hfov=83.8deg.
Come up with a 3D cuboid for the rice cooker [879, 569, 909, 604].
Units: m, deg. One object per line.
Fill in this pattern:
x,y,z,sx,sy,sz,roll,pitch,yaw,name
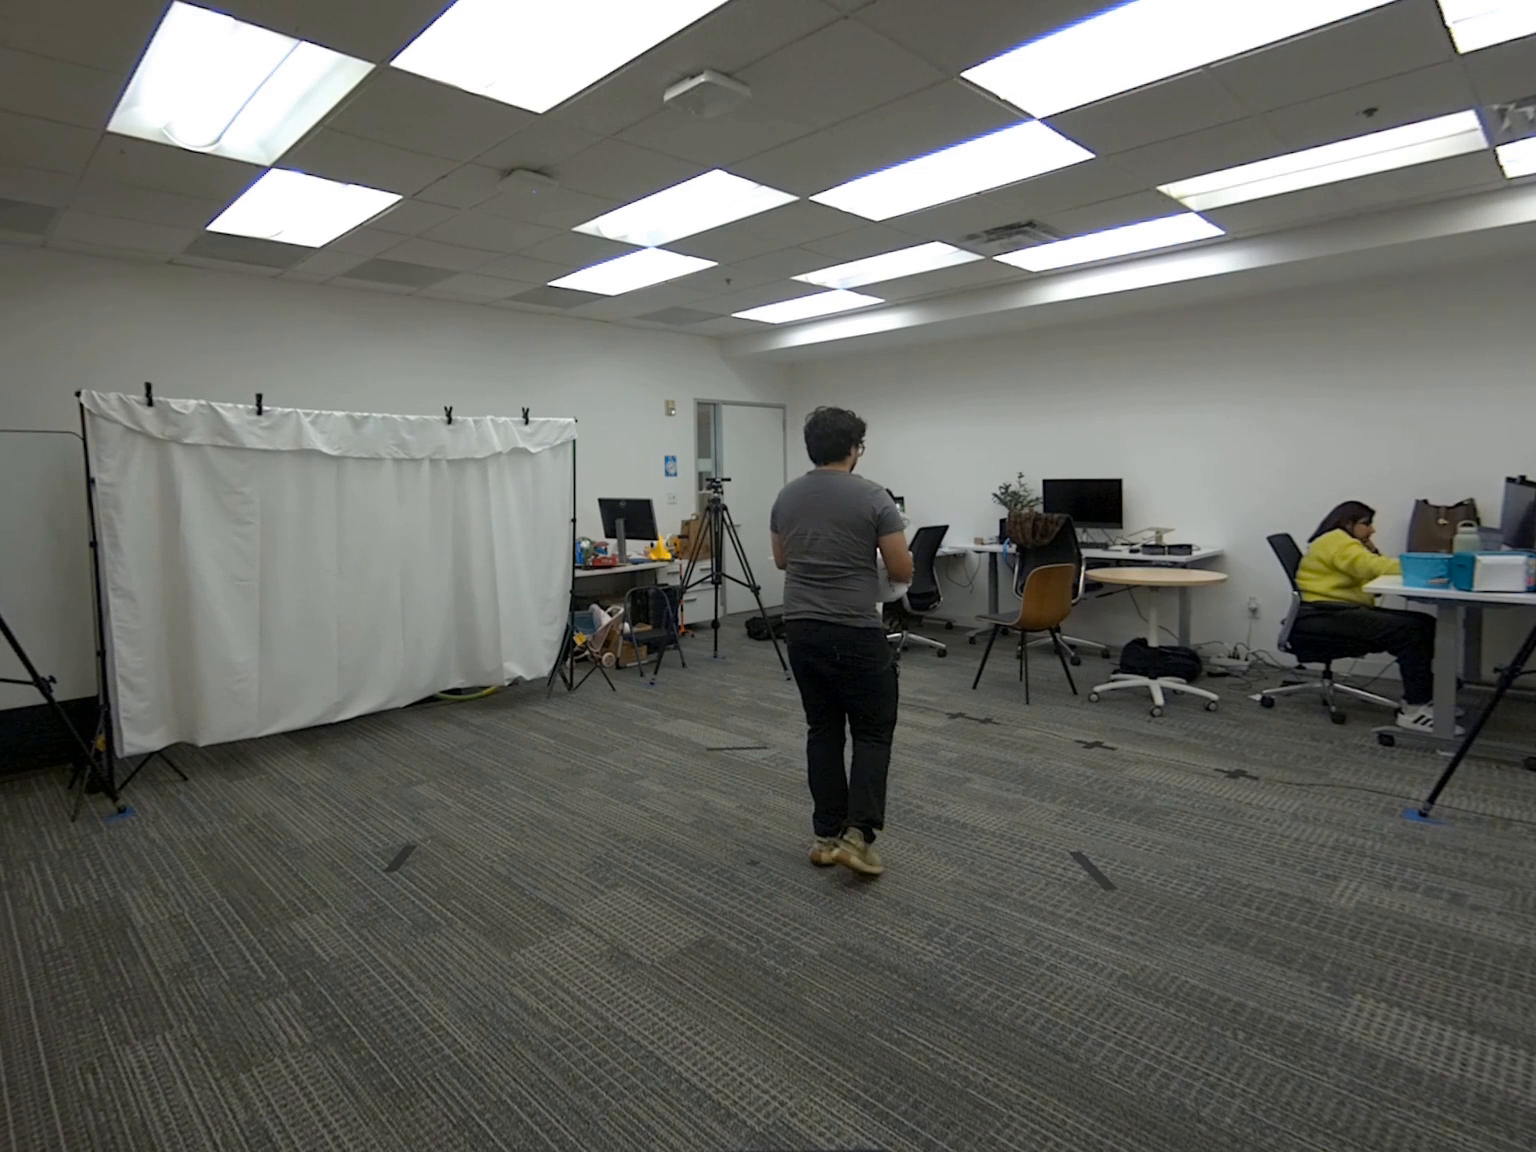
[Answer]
0.456,-0.025,3.402,0.226,0.230,0.215,-4,14,31,rice cooker
